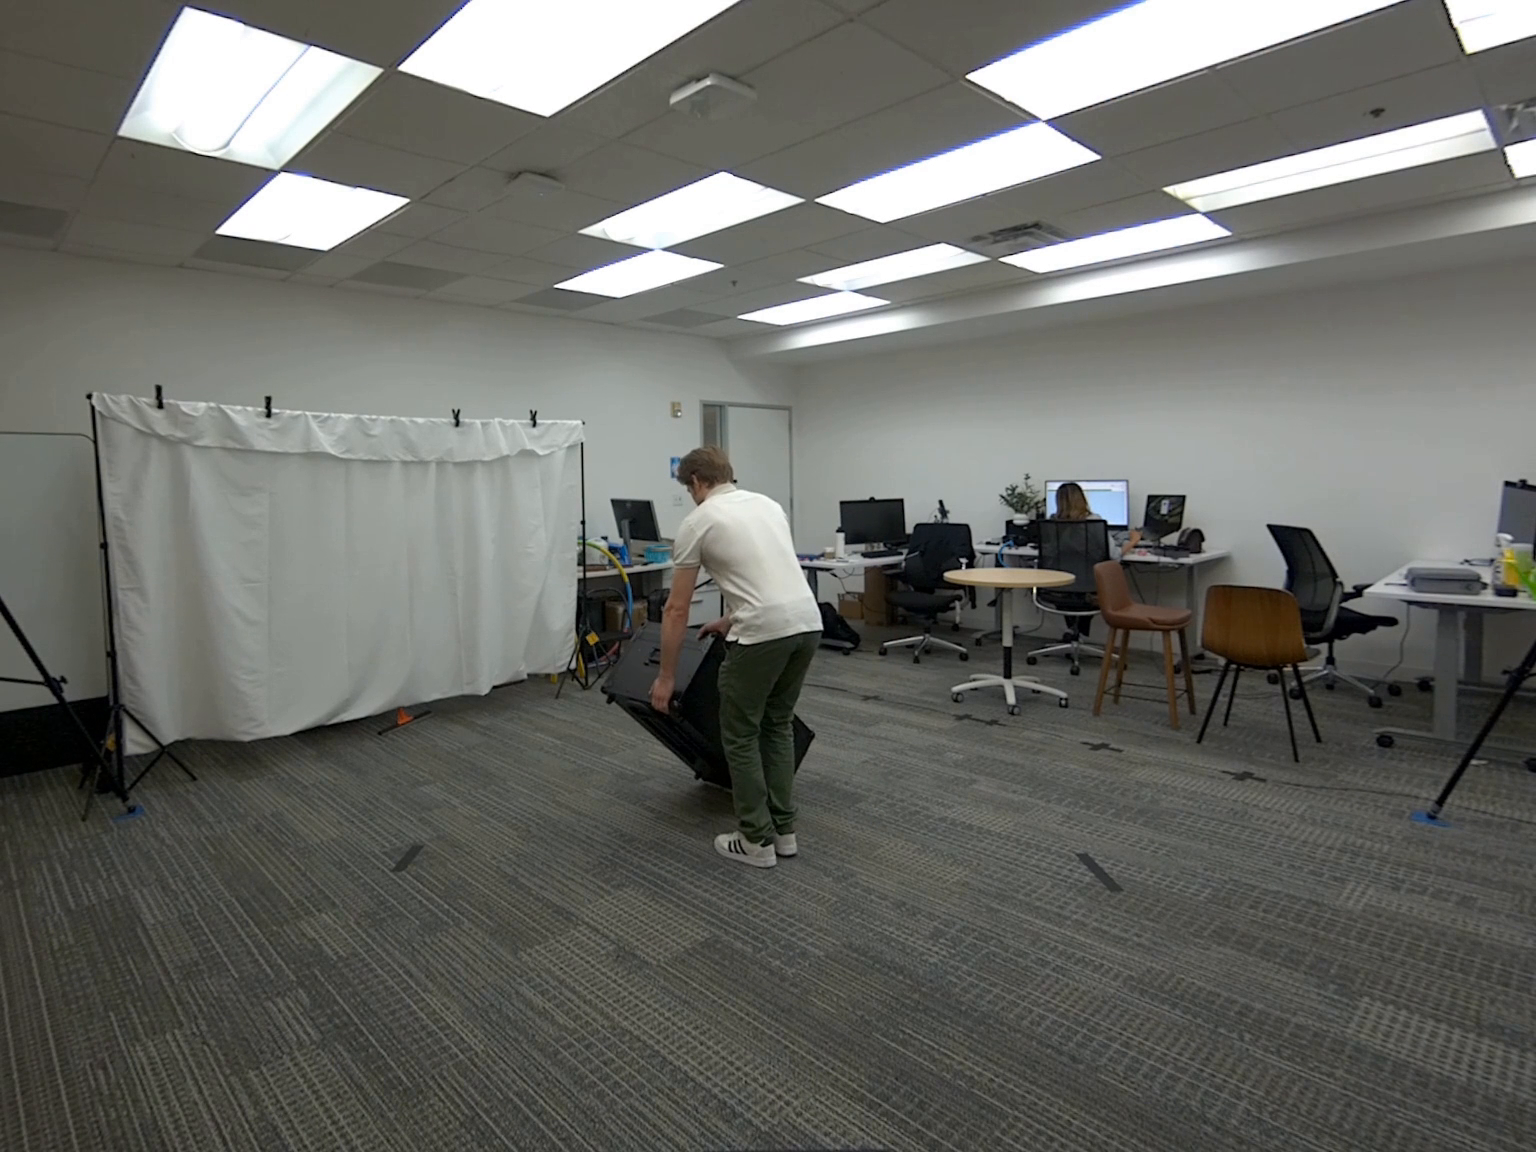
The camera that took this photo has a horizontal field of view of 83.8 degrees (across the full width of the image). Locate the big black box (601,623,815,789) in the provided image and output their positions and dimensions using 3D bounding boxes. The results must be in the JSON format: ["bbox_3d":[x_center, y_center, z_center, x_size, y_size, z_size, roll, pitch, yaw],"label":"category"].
[{"bbox_3d":[-0.224,0.609,3.679,0.539,0.387,0.838,2,-38,46],"label":"big black box"}]
